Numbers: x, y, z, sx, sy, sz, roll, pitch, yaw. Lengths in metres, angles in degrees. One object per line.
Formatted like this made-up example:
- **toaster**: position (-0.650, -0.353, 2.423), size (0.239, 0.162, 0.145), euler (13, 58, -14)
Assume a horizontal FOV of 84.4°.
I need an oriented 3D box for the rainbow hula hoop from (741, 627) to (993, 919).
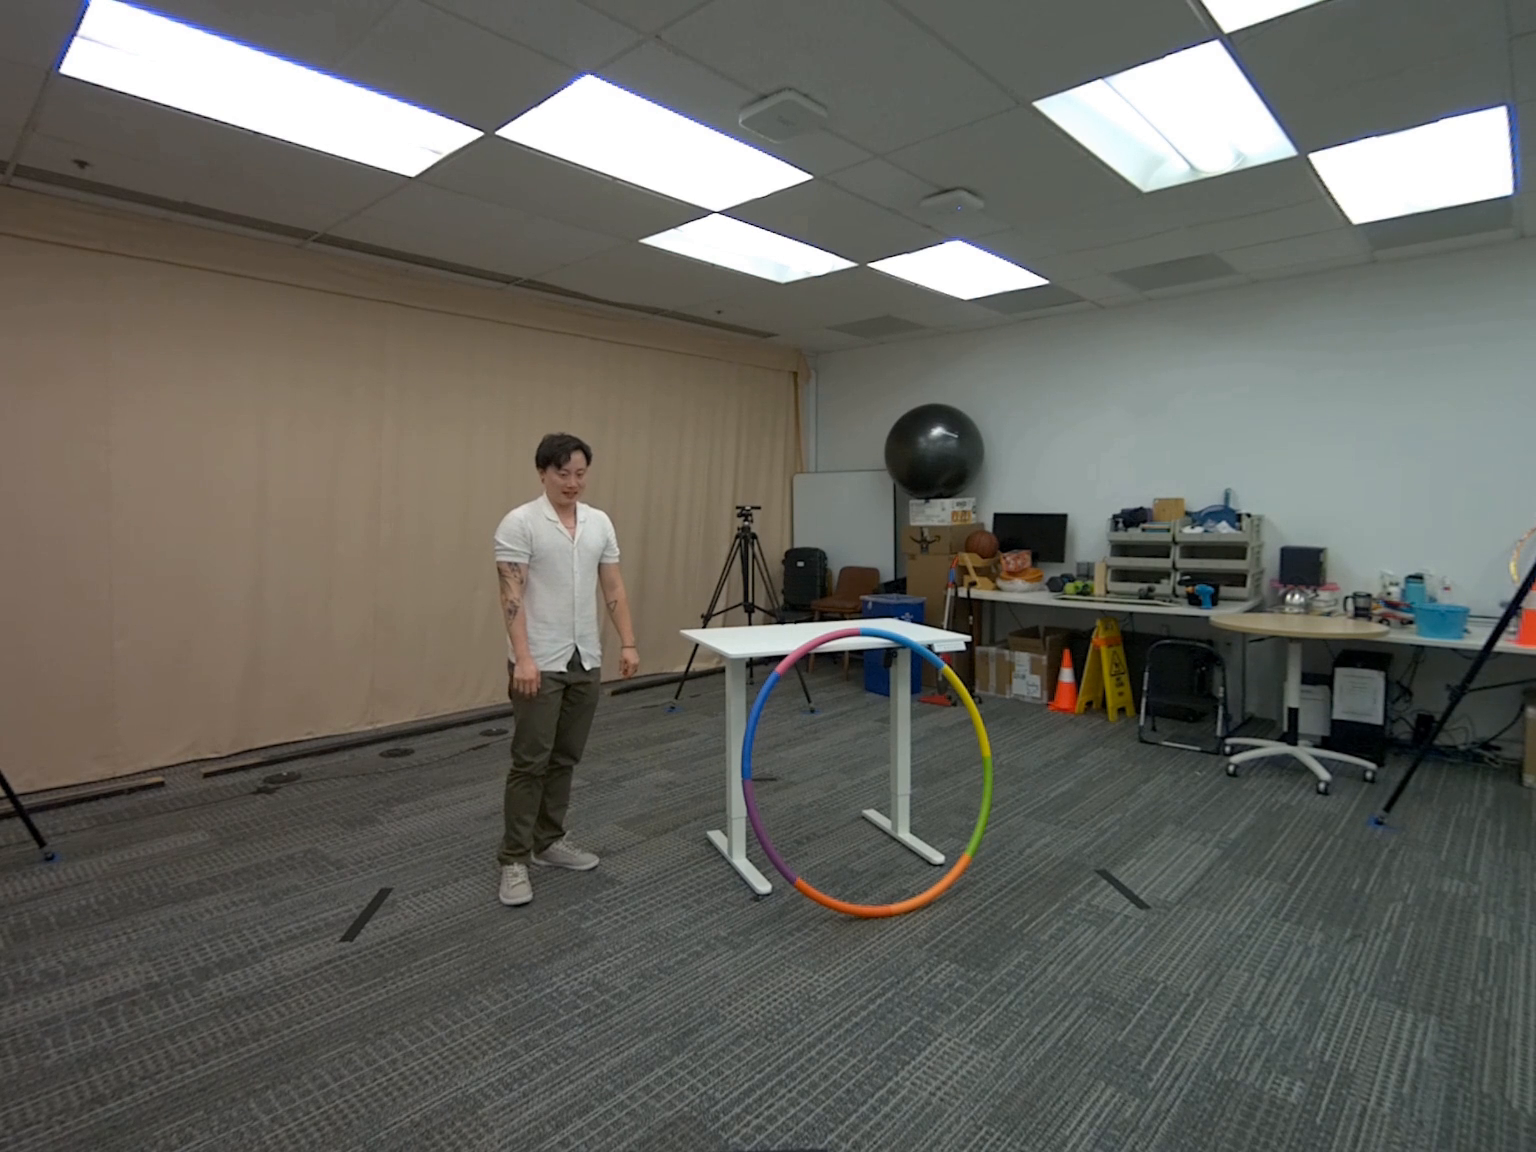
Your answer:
- **rainbow hula hoop**: position (0.383, 0.680, 2.960), size (0.959, 0.987, 0.036), euler (-2, -13, -20)
